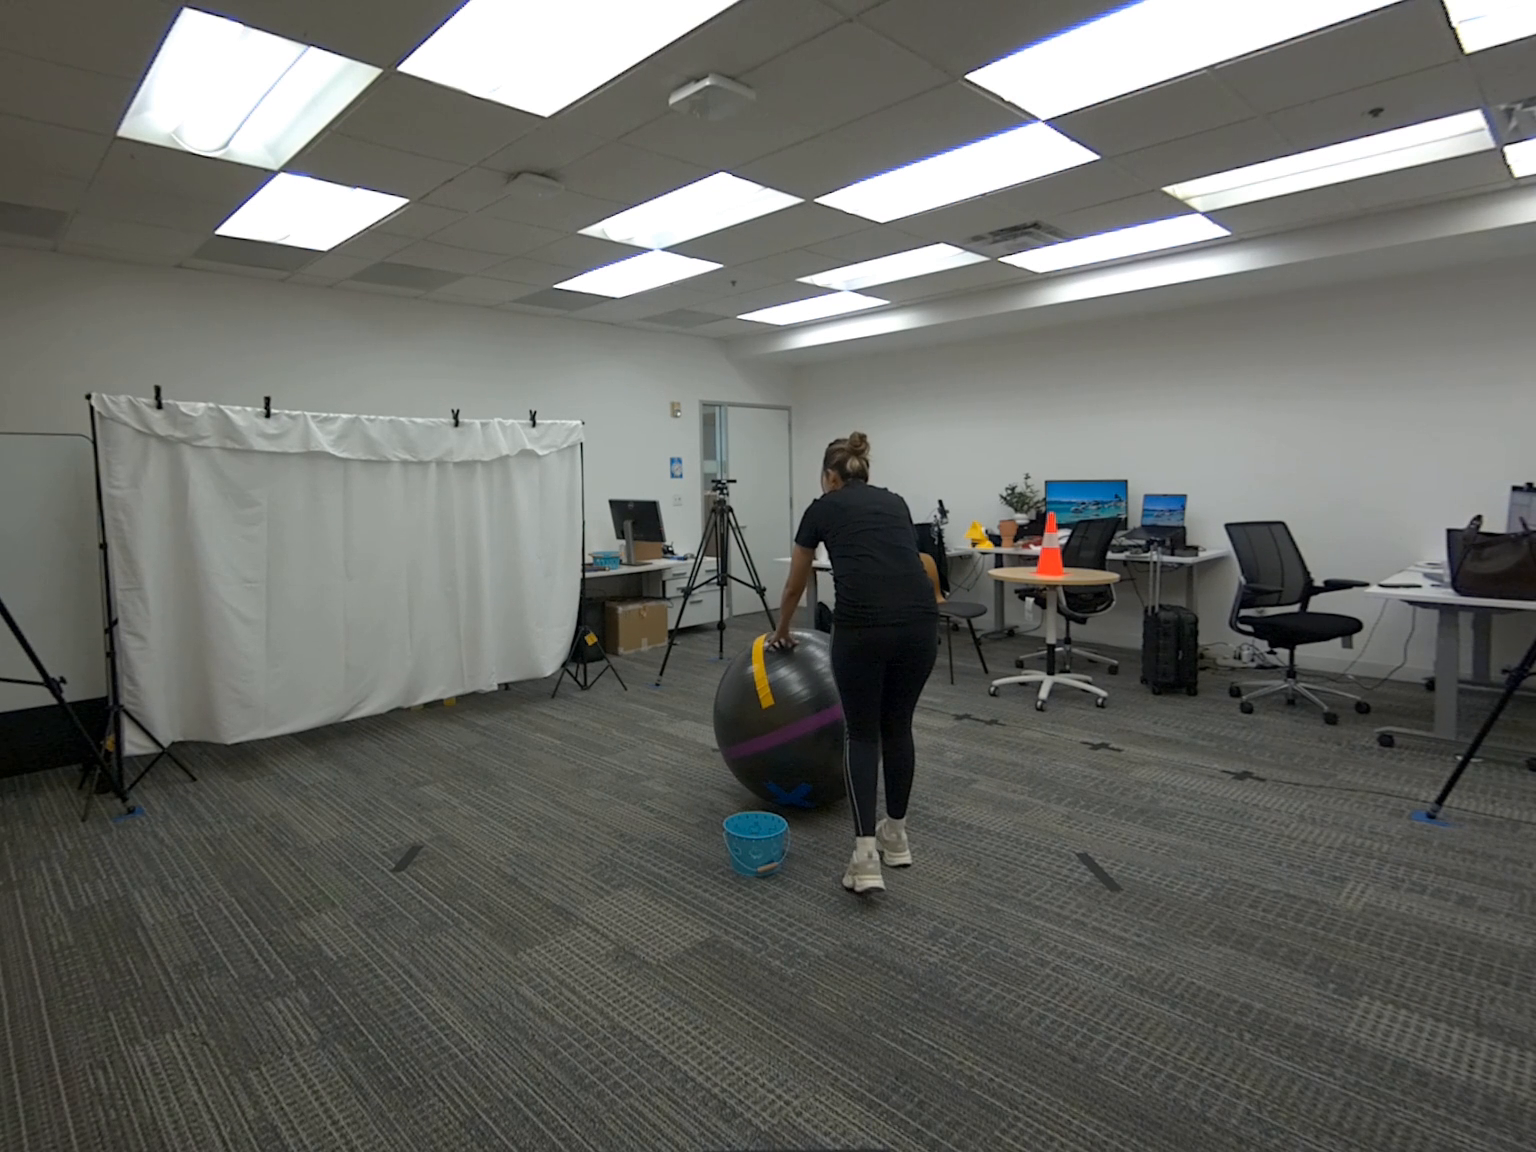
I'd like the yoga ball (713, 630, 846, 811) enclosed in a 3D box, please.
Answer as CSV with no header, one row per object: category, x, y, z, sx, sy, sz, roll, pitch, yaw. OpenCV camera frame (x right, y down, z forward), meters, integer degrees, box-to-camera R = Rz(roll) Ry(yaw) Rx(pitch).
yoga ball,0.144,0.608,3.687,0.757,0.755,0.762,-1,5,-2
